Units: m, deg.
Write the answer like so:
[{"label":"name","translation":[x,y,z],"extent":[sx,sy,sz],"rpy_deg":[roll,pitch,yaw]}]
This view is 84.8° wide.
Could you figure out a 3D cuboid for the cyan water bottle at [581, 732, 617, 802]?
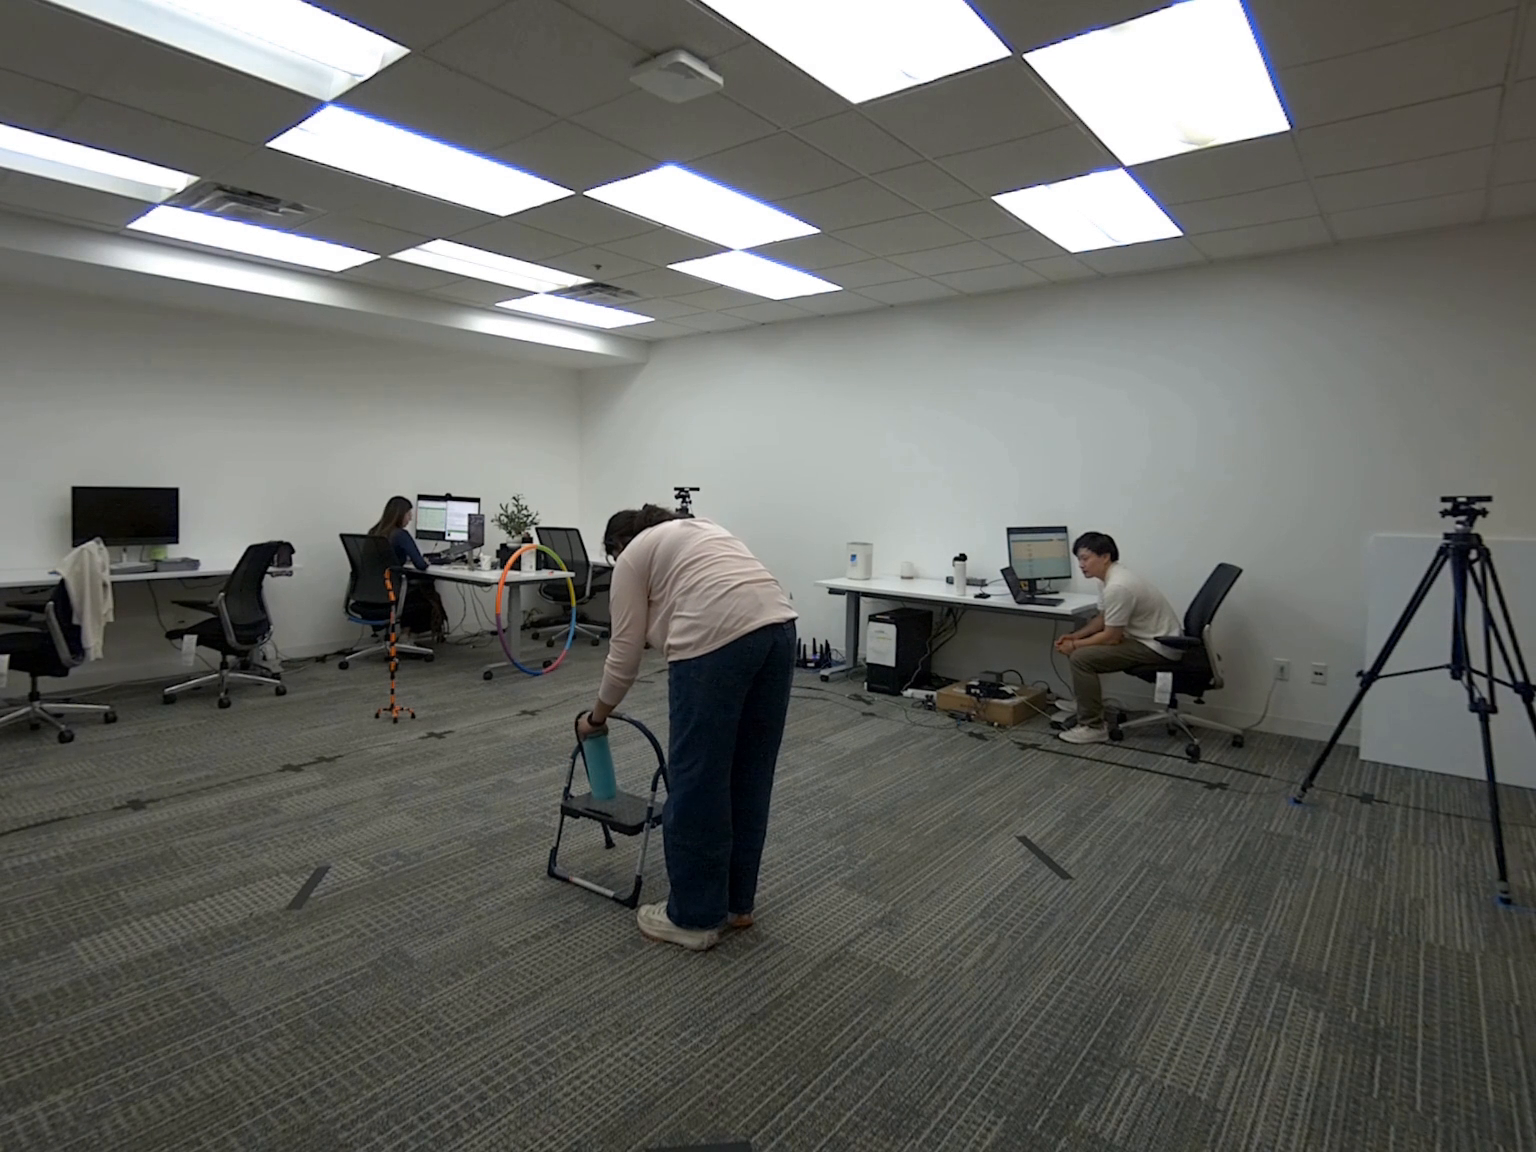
[{"label":"cyan water bottle","translation":[-0.594,0.633,2.940],"extent":[0.092,0.279,0.093],"rpy_deg":[-5,13,0]}]
